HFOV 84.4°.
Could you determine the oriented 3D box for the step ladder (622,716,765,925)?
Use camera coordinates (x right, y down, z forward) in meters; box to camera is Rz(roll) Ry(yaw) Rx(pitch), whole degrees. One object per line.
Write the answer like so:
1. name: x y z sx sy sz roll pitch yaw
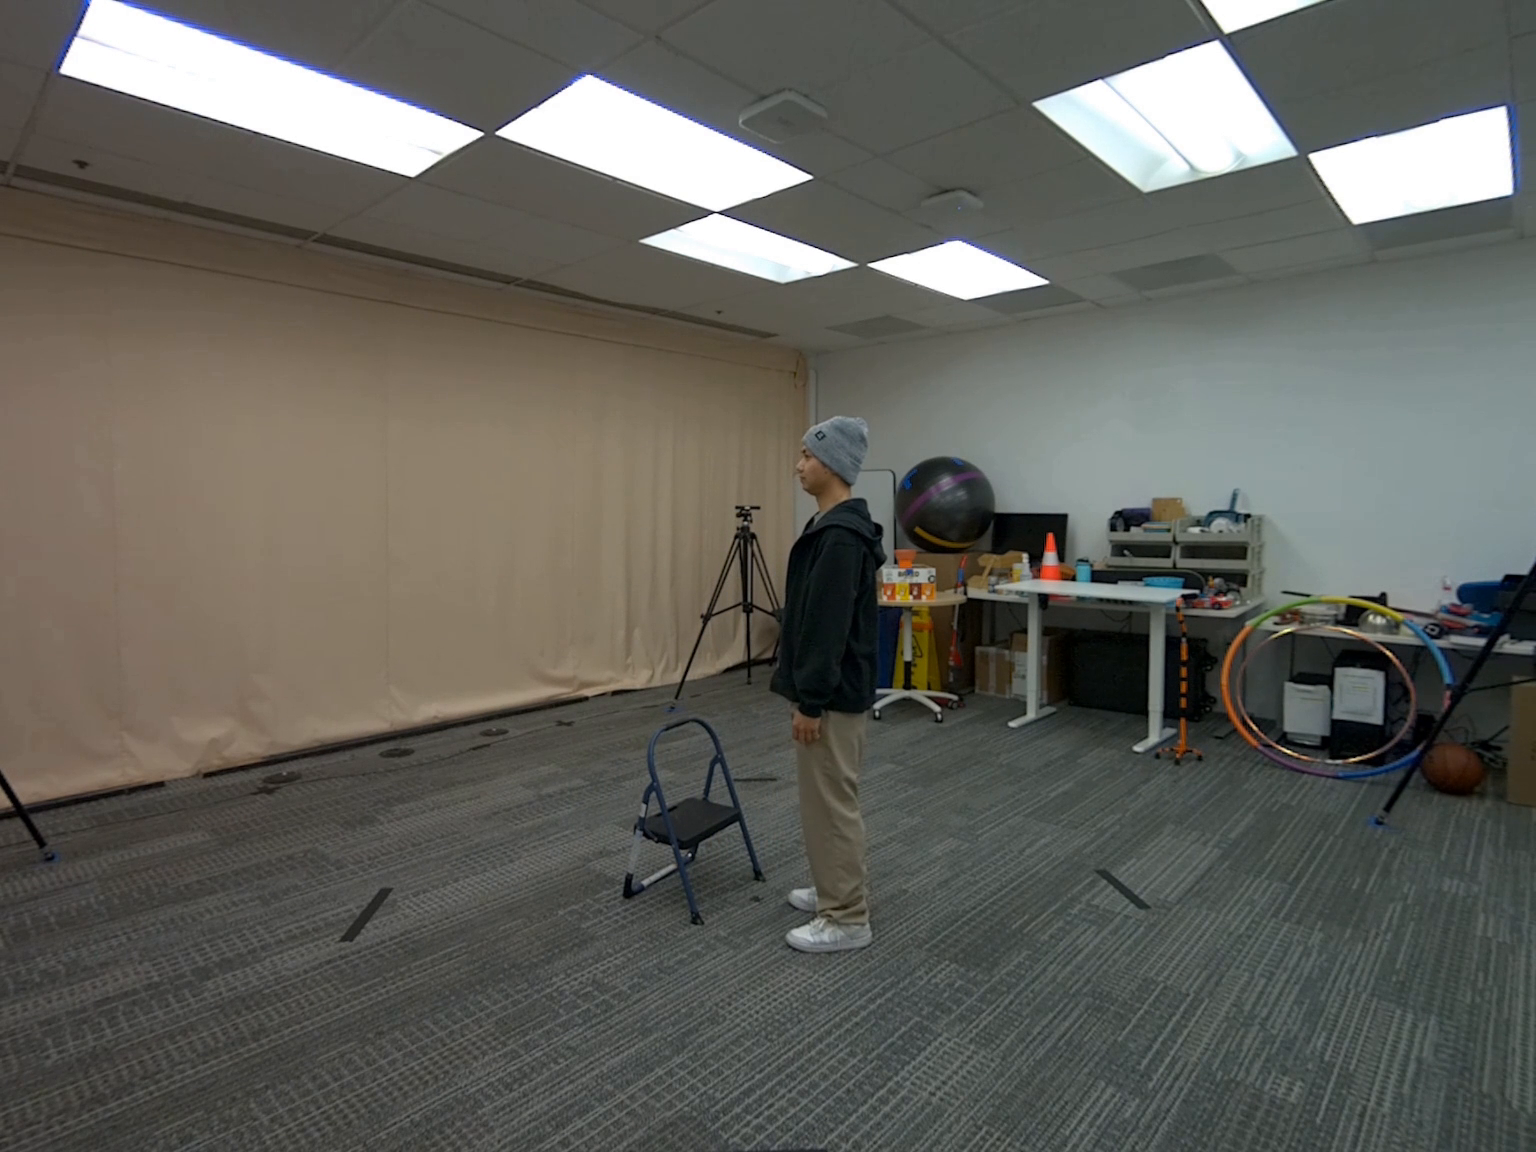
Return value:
1. step ladder: -0.267 0.837 3.055 0.360 0.605 0.418 2 4 33
